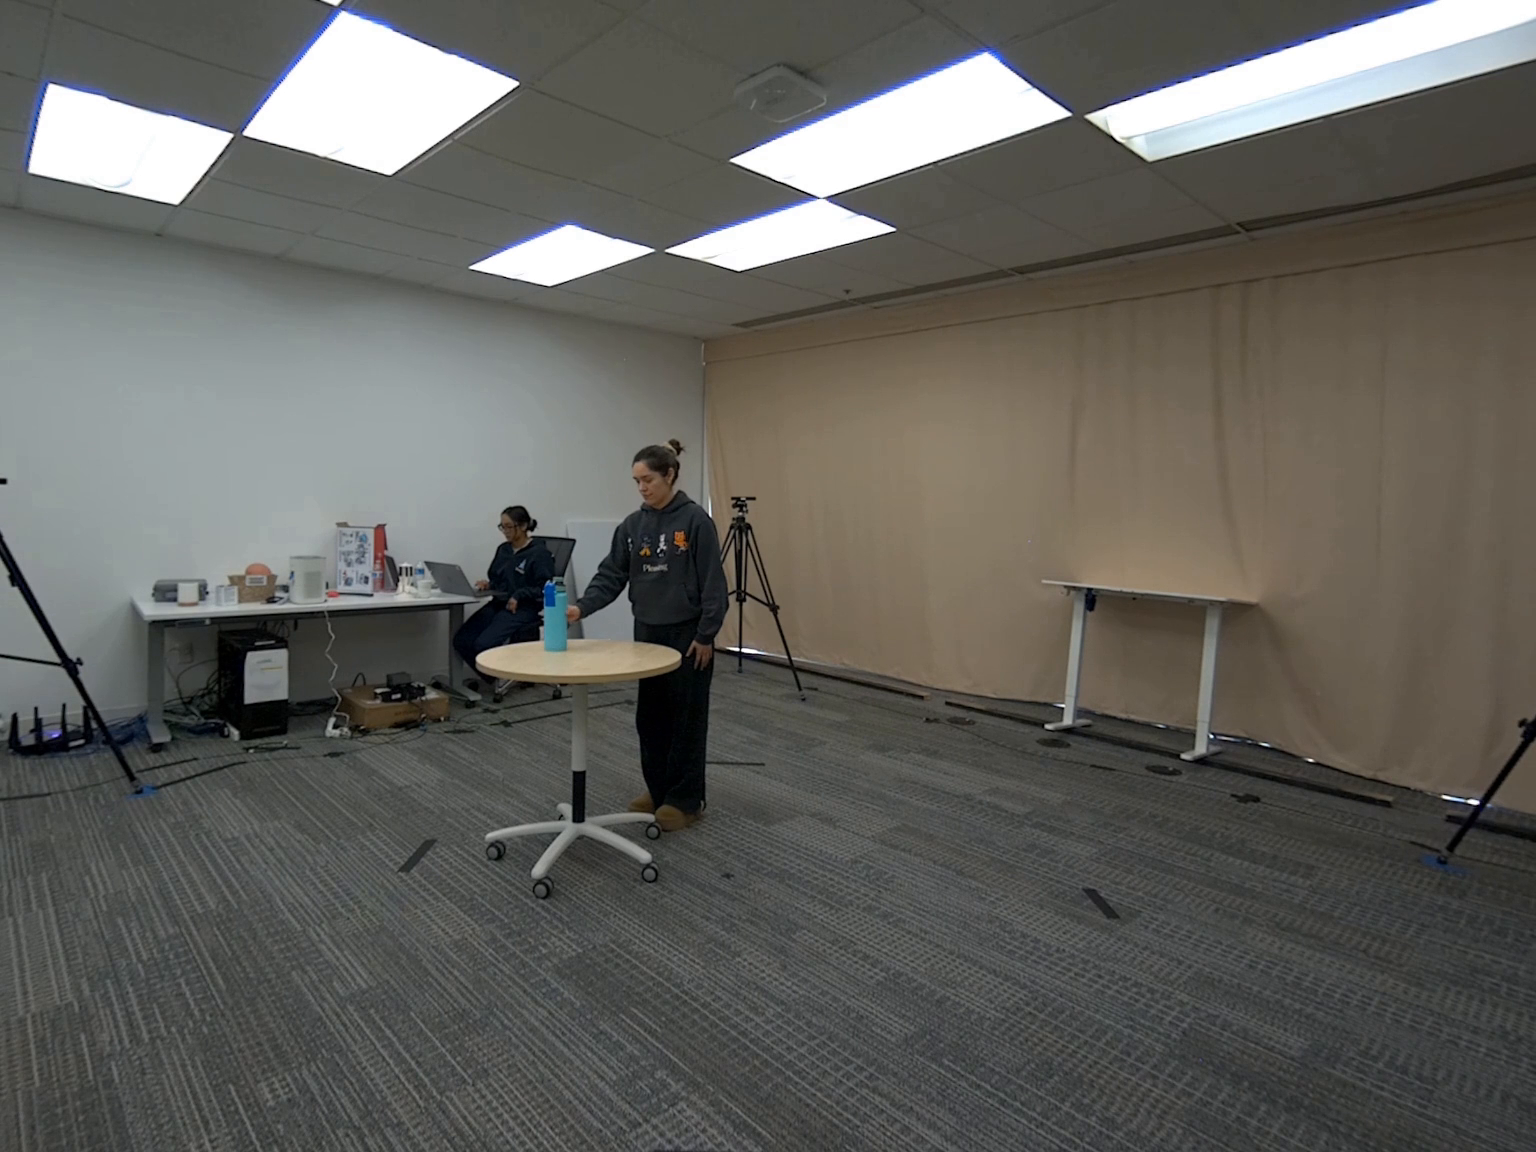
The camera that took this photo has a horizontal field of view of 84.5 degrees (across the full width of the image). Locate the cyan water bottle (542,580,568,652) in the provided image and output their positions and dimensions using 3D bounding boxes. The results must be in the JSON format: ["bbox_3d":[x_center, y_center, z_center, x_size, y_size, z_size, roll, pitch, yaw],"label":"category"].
[{"bbox_3d":[-0.848,0.151,3.306,0.092,0.282,0.093,1,5,-1],"label":"cyan water bottle"}]
